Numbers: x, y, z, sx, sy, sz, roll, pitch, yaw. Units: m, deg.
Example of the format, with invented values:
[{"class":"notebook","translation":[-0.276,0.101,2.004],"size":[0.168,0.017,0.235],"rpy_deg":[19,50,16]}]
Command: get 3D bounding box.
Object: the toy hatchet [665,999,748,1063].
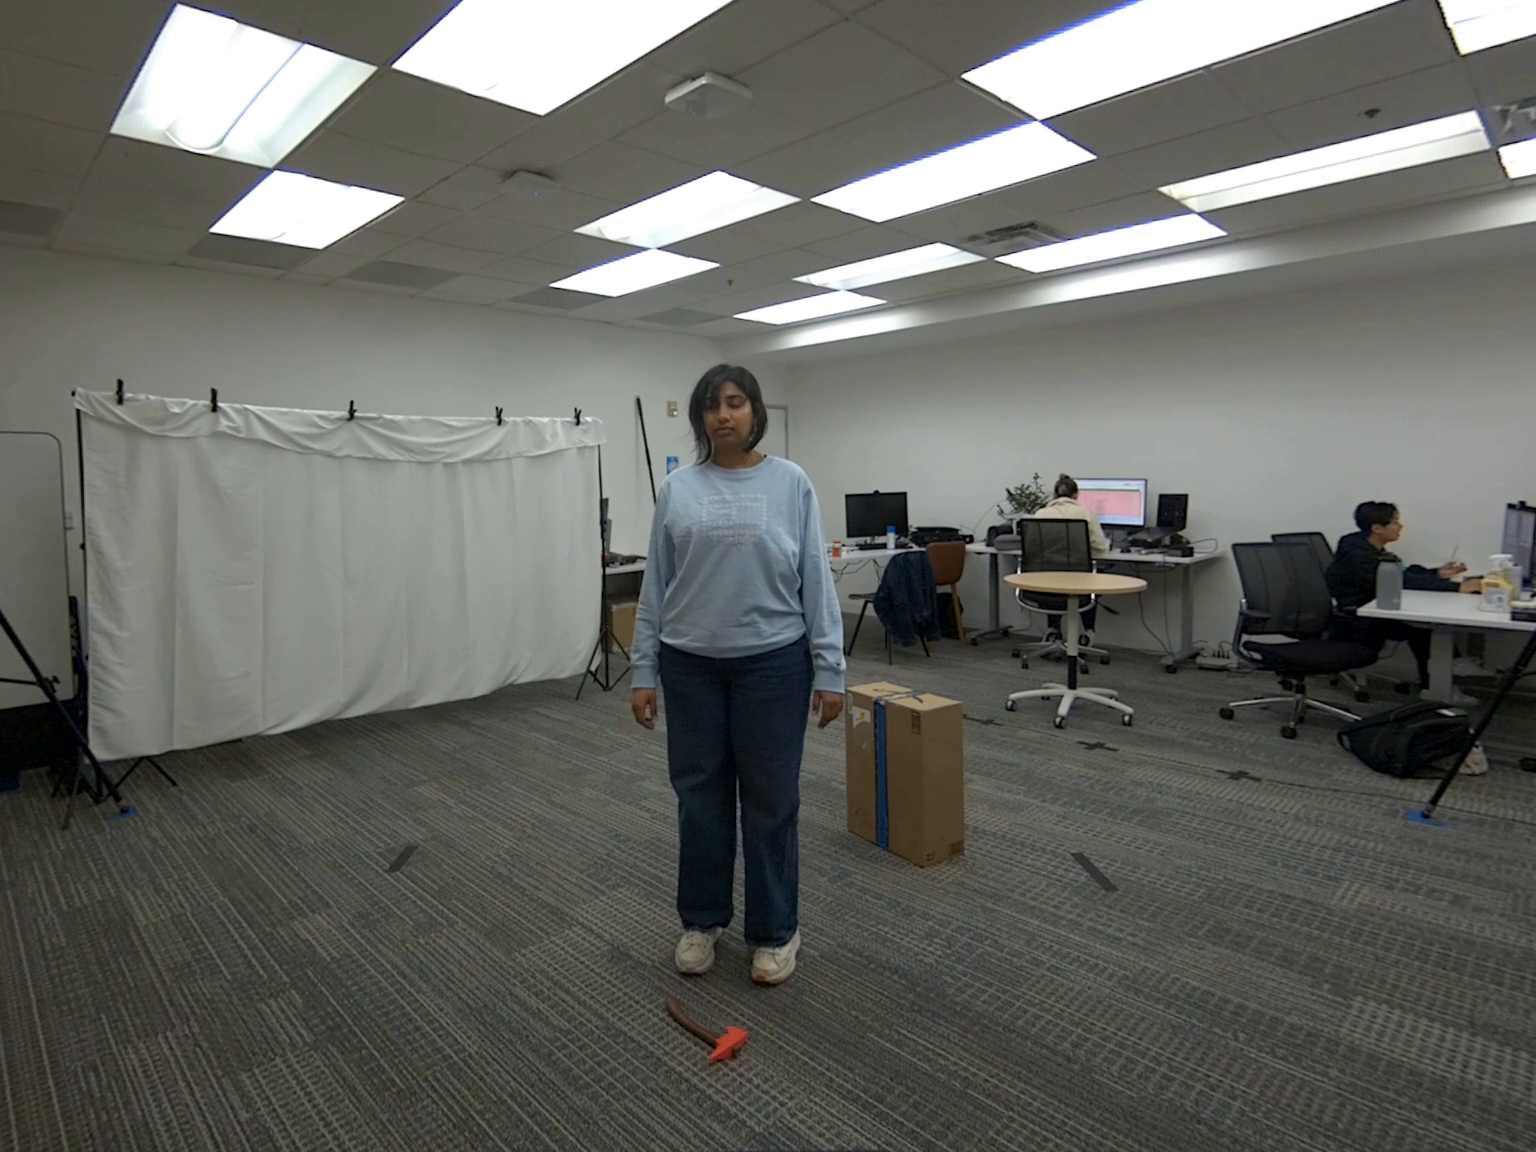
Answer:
[{"class":"toy hatchet","translation":[-0.143,1.153,2.179],"size":[0.128,0.029,0.277],"rpy_deg":[-6,6,-30]}]
